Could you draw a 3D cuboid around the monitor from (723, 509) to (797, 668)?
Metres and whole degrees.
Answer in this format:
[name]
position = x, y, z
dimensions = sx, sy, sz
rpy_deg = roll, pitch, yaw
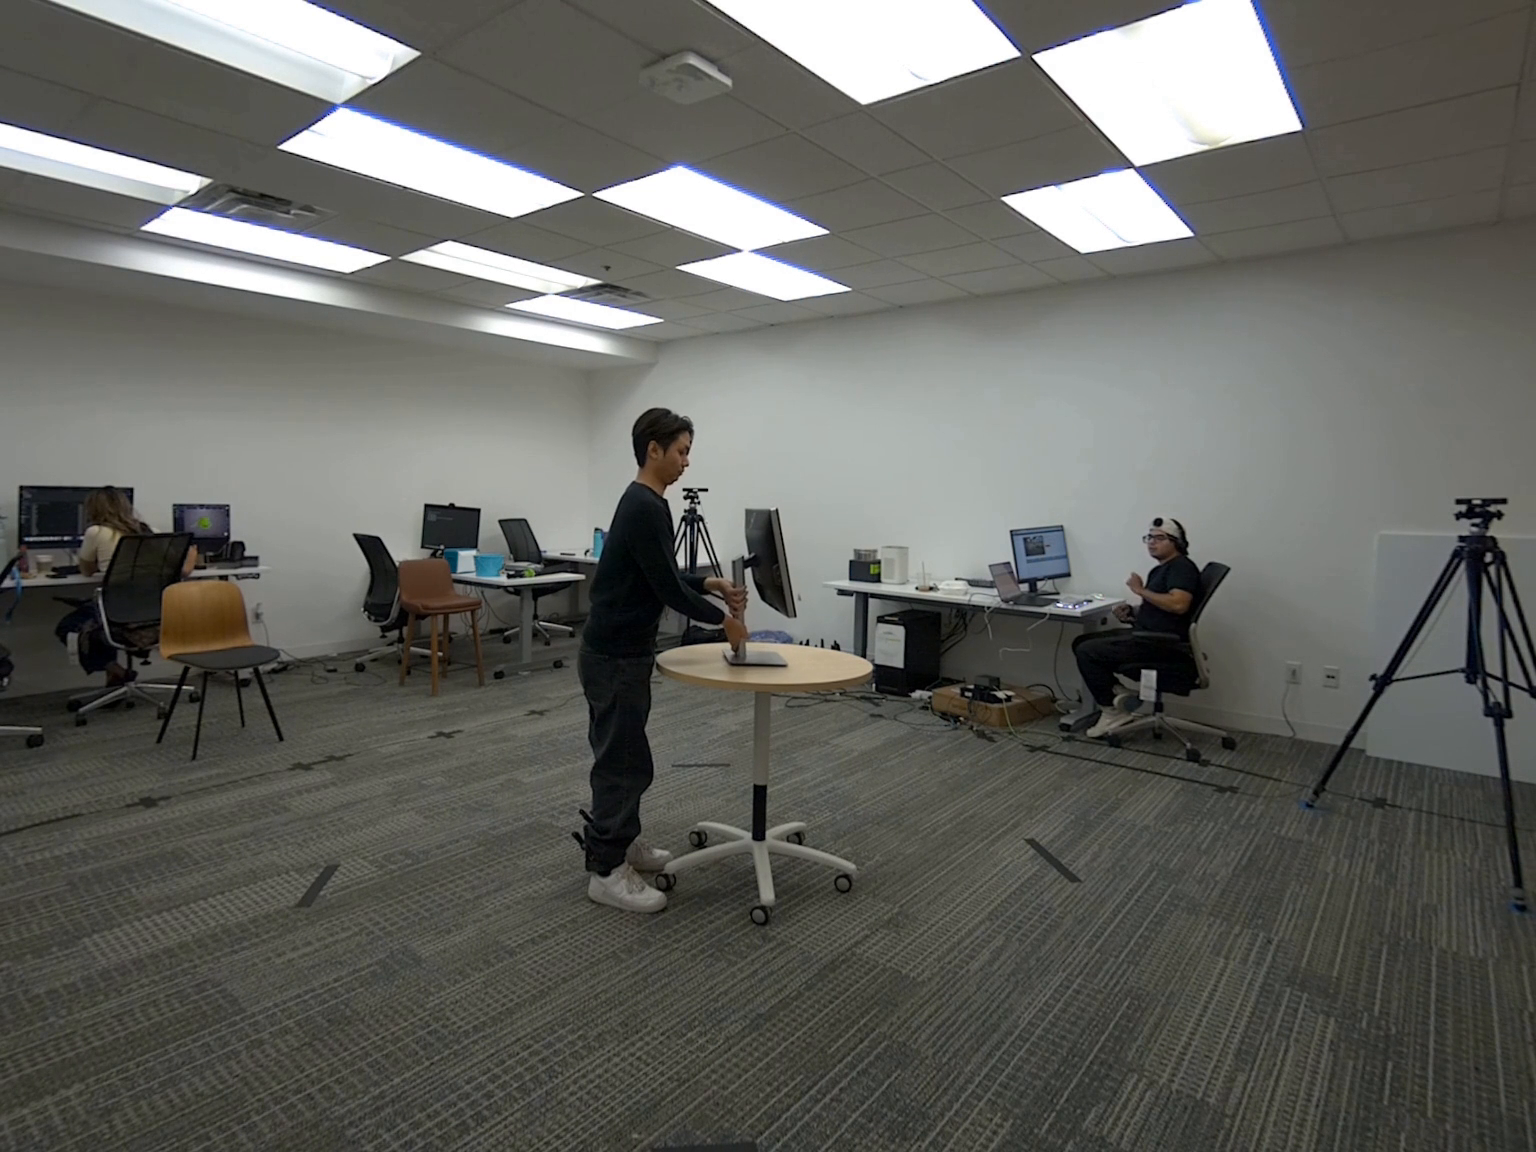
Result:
[monitor]
position = -0.055, 0.039, 3.005
dimensions = 0.185, 0.520, 0.547
rpy_deg = 1, 5, -11
